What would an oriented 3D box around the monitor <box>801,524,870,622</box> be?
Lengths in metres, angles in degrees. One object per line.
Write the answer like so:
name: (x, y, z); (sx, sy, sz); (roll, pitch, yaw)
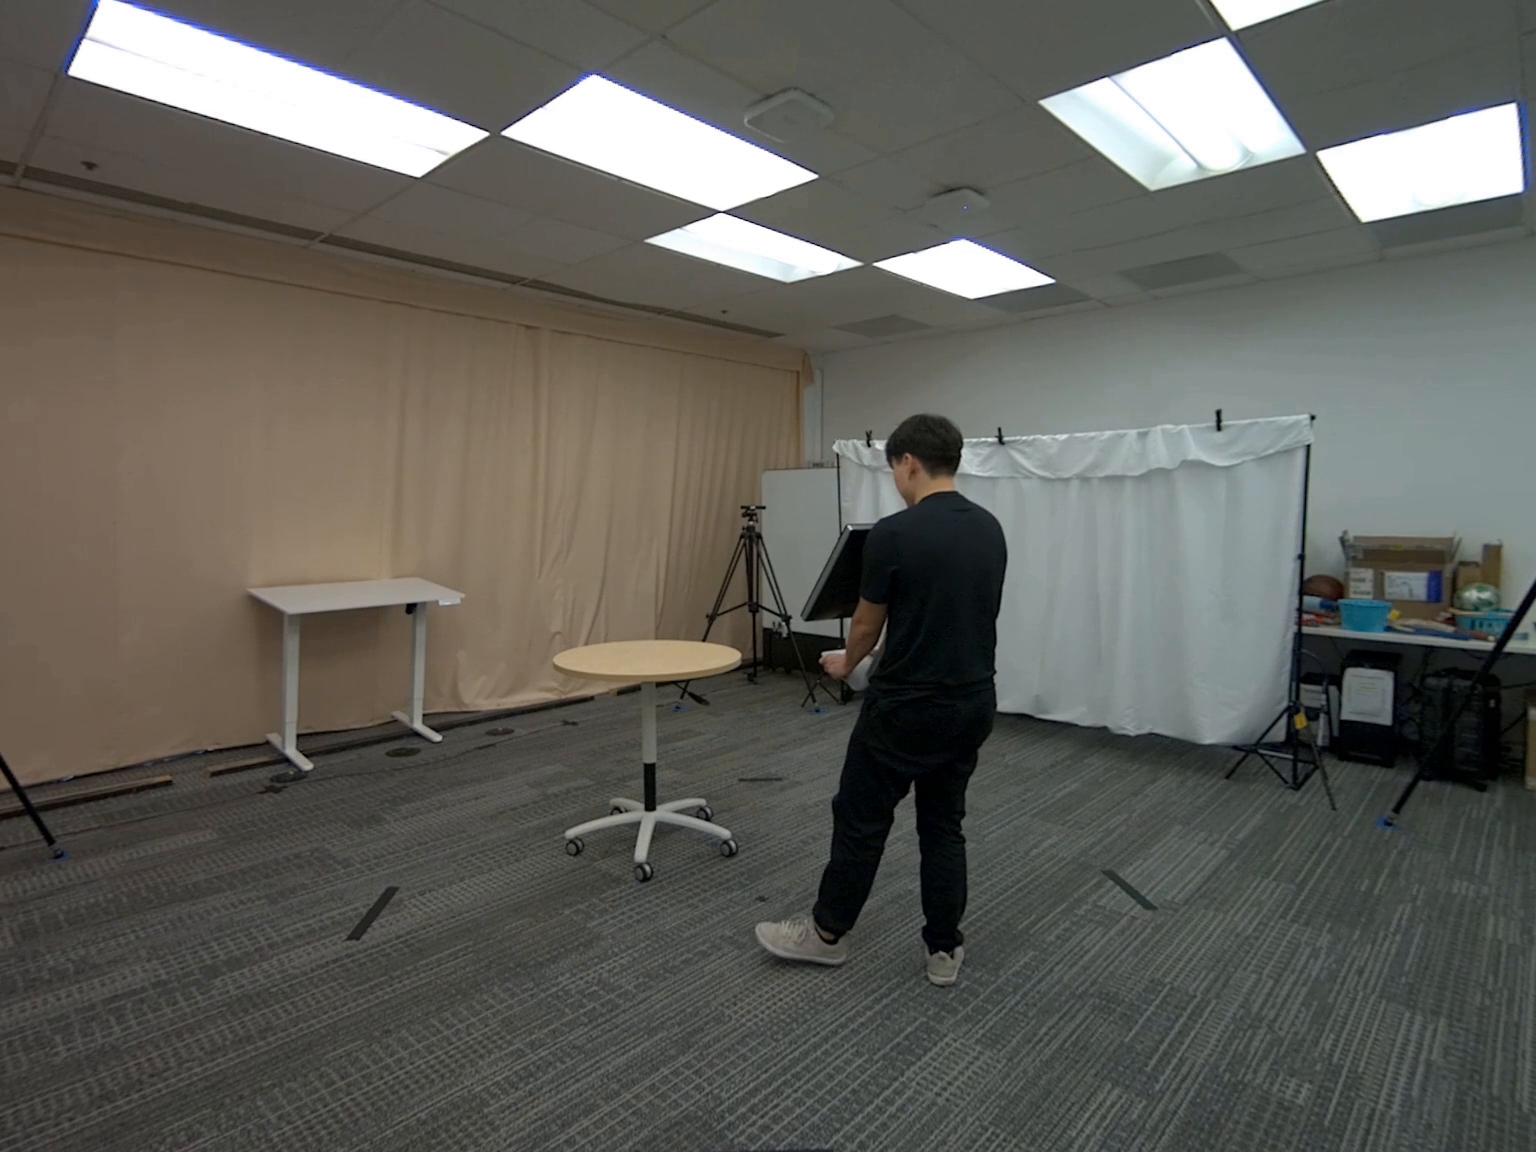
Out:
monitor: (0.386, 0.075, 2.615); (0.524, 0.518, 0.194); (-4, 32, -34)
